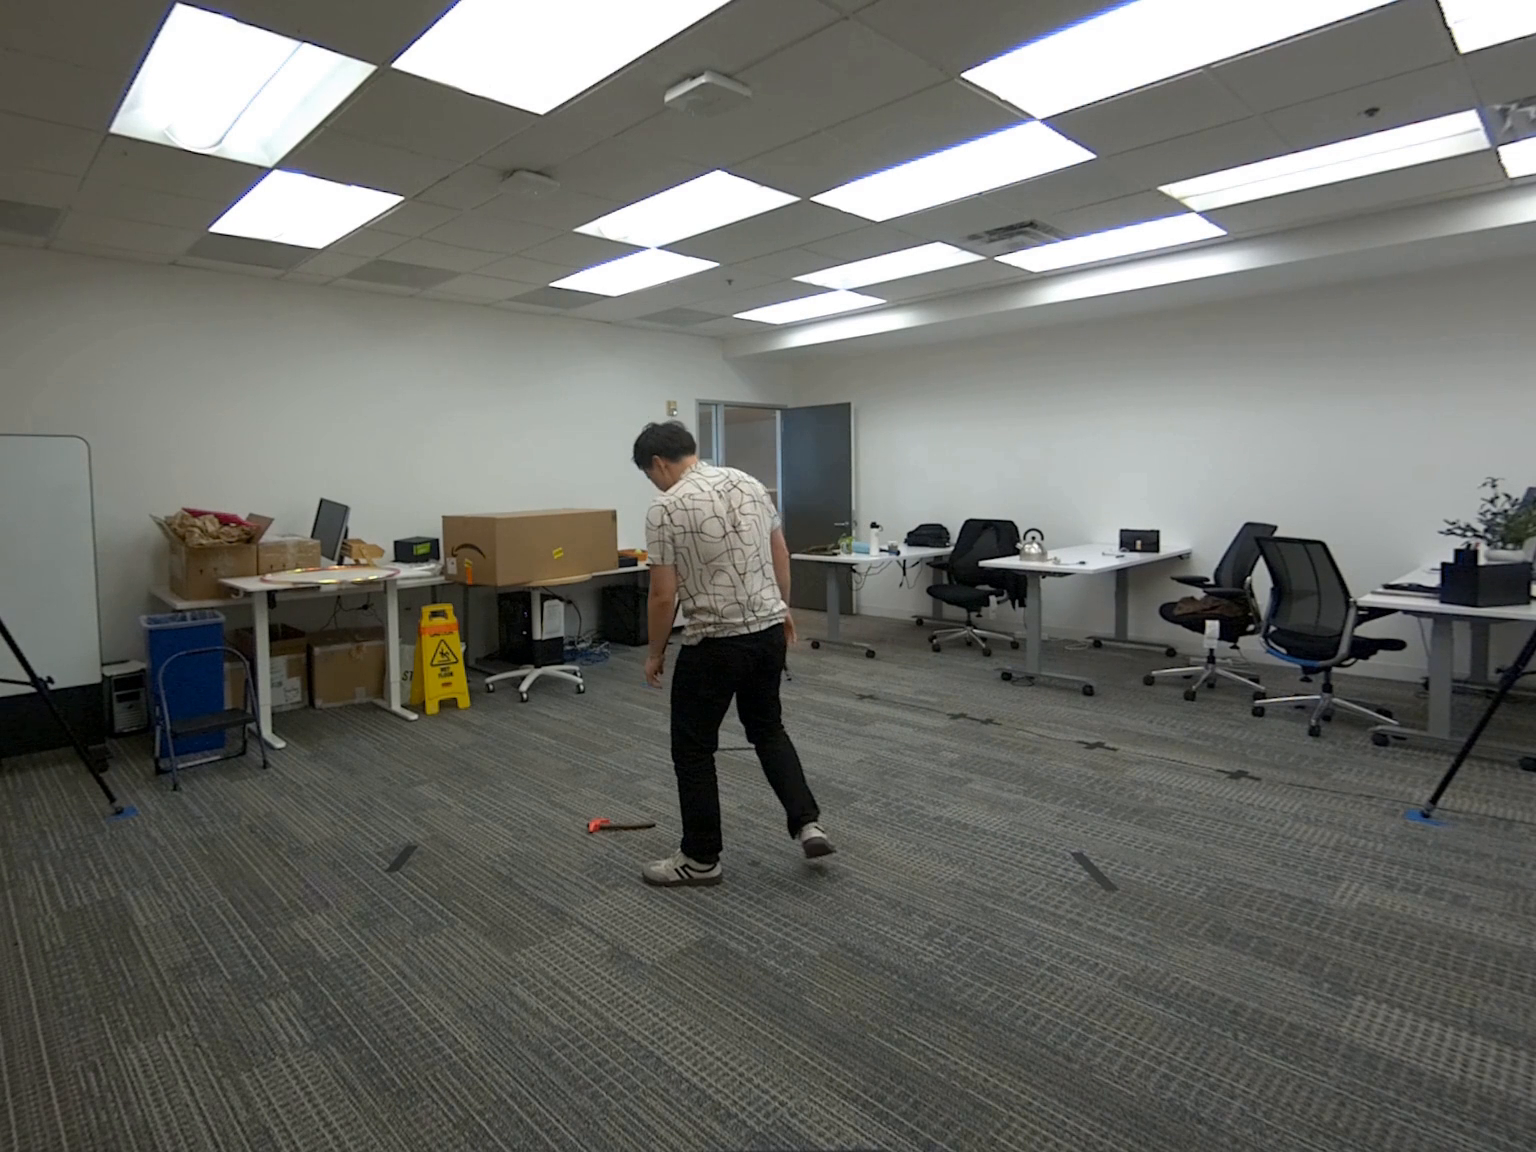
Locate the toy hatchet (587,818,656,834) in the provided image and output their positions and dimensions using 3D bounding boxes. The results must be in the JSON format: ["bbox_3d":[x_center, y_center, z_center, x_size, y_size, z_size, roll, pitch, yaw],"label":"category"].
[{"bbox_3d":[-0.597,1.003,3.467,0.266,0.029,0.133,-1,2,-15],"label":"toy hatchet"}]
